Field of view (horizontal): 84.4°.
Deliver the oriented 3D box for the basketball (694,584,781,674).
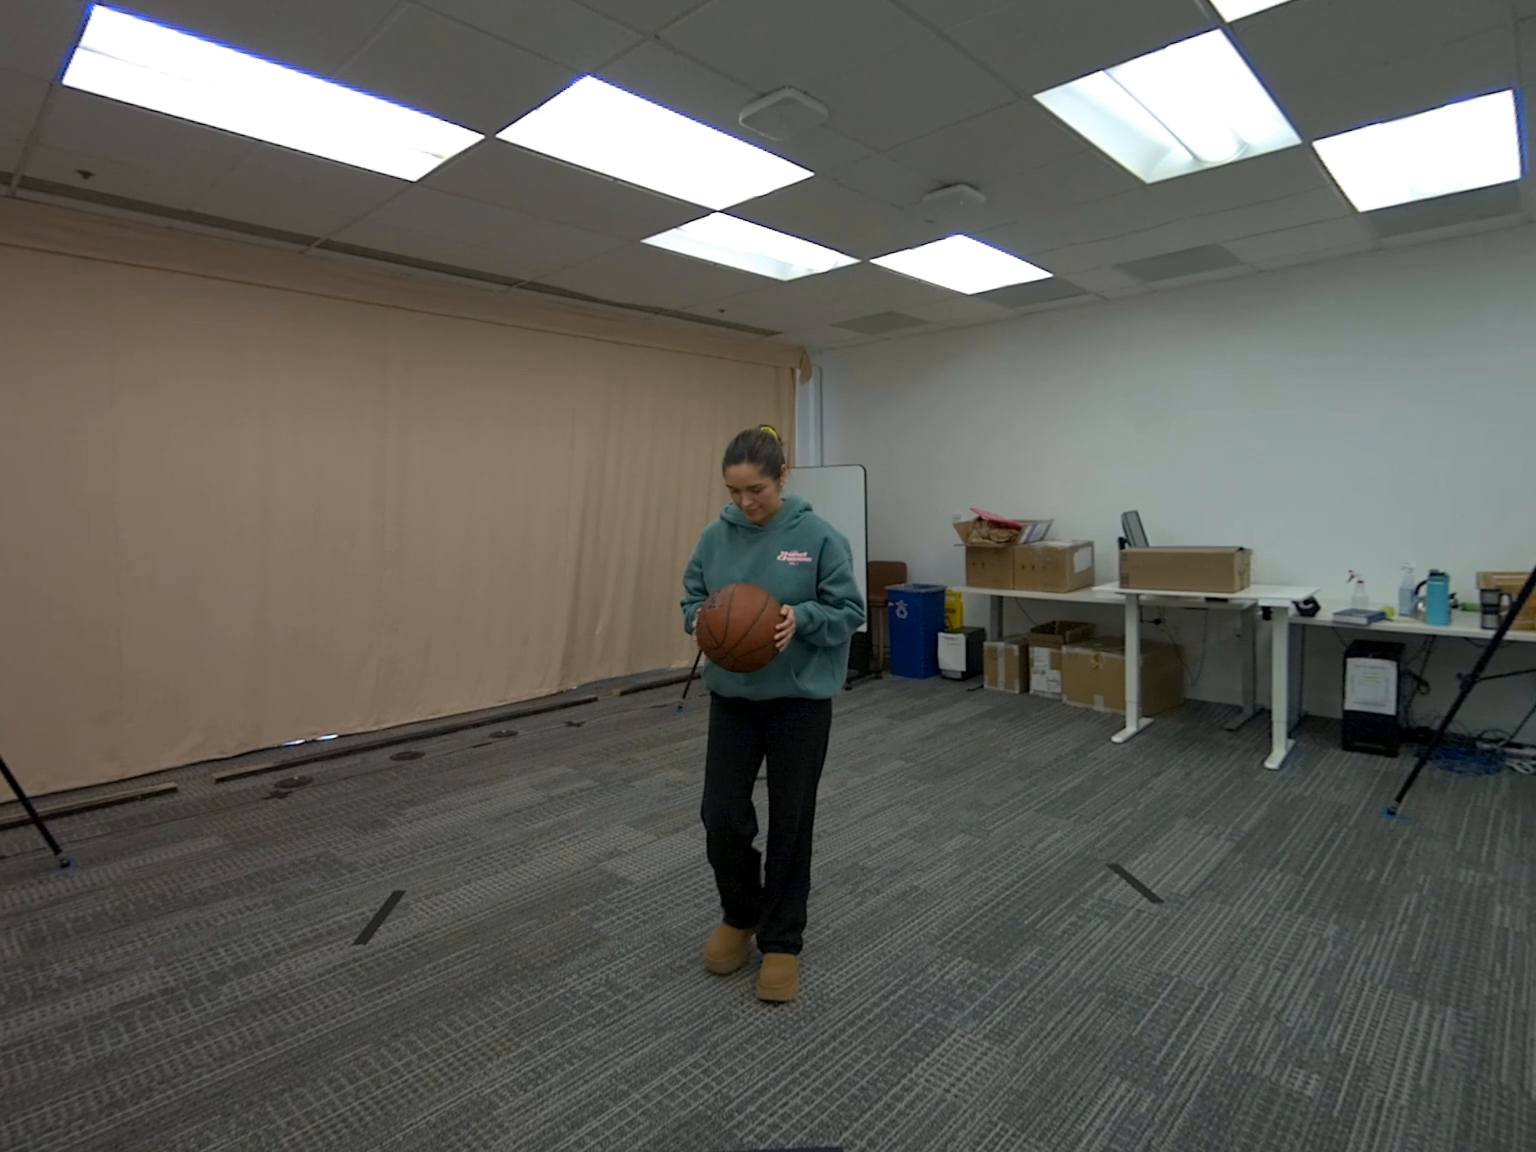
[{"bbox_3d":[-0.069,0.139,2.234,0.236,0.235,0.237,-1,4,-2],"label":"basketball"}]
